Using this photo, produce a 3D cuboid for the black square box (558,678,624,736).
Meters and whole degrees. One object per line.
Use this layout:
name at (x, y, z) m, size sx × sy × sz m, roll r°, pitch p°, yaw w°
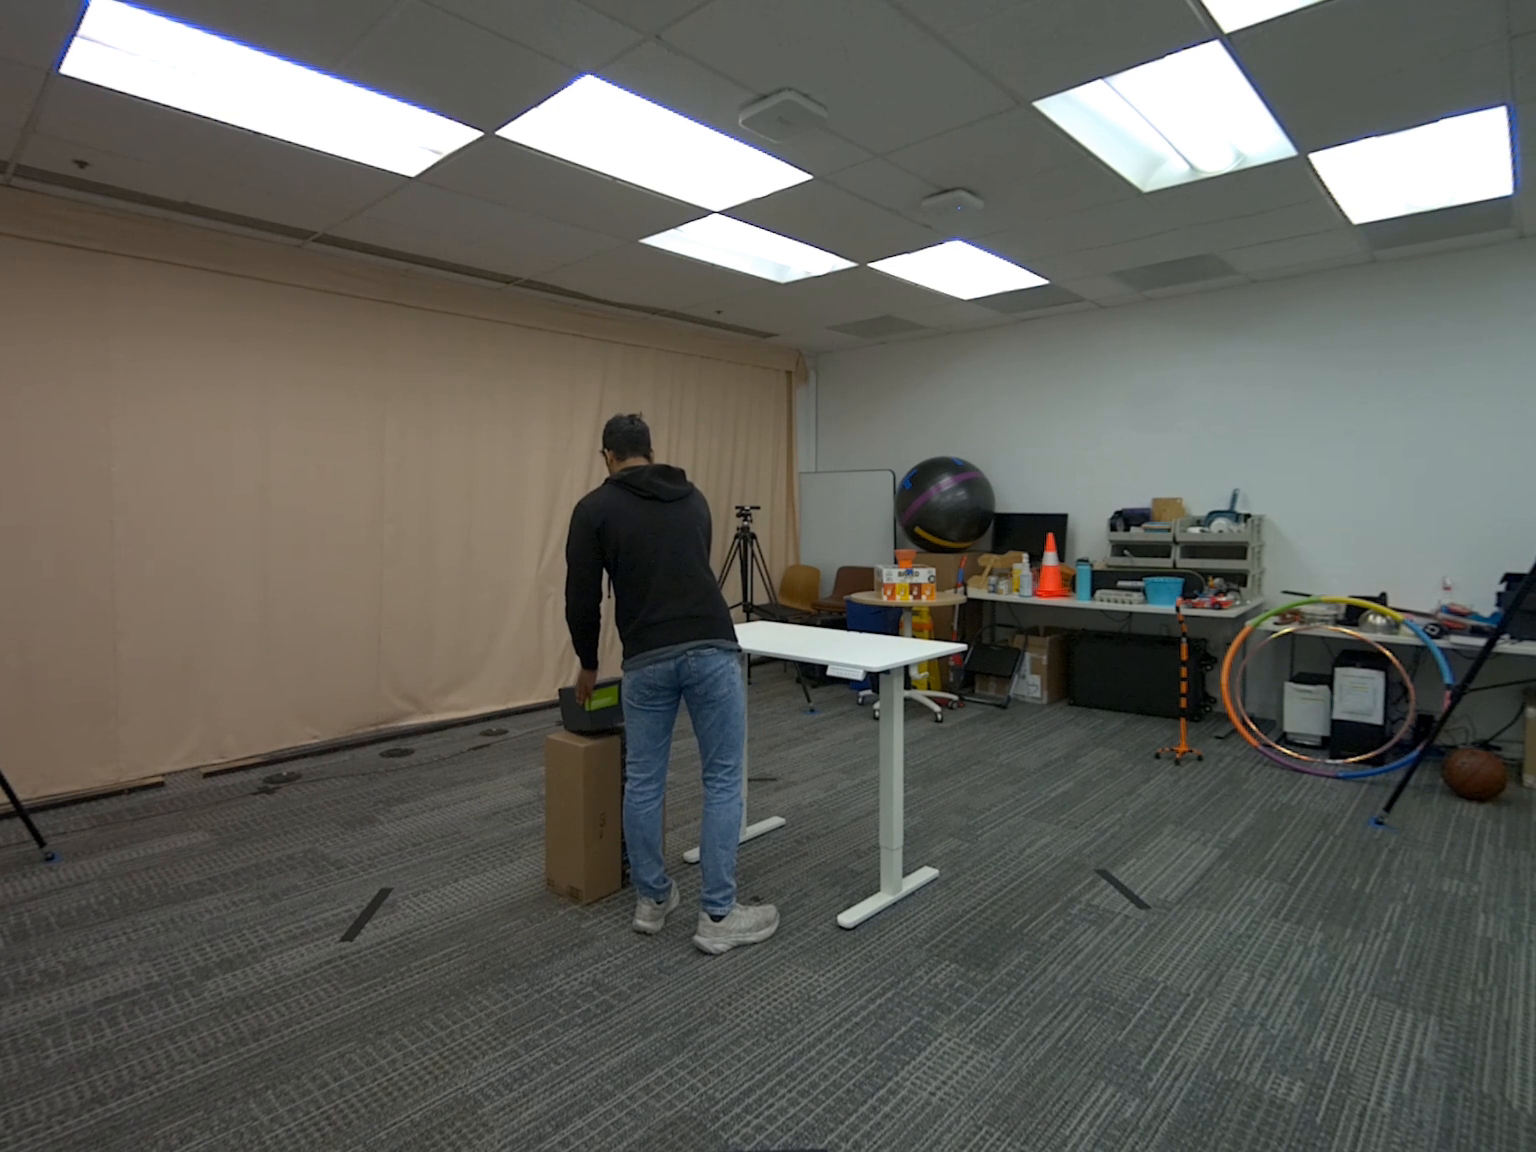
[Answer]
black square box at (-0.616, 0.456, 3.121) m, size 0.221 × 0.156 × 0.223 m, roll -6°, pitch -3°, yaw -42°
